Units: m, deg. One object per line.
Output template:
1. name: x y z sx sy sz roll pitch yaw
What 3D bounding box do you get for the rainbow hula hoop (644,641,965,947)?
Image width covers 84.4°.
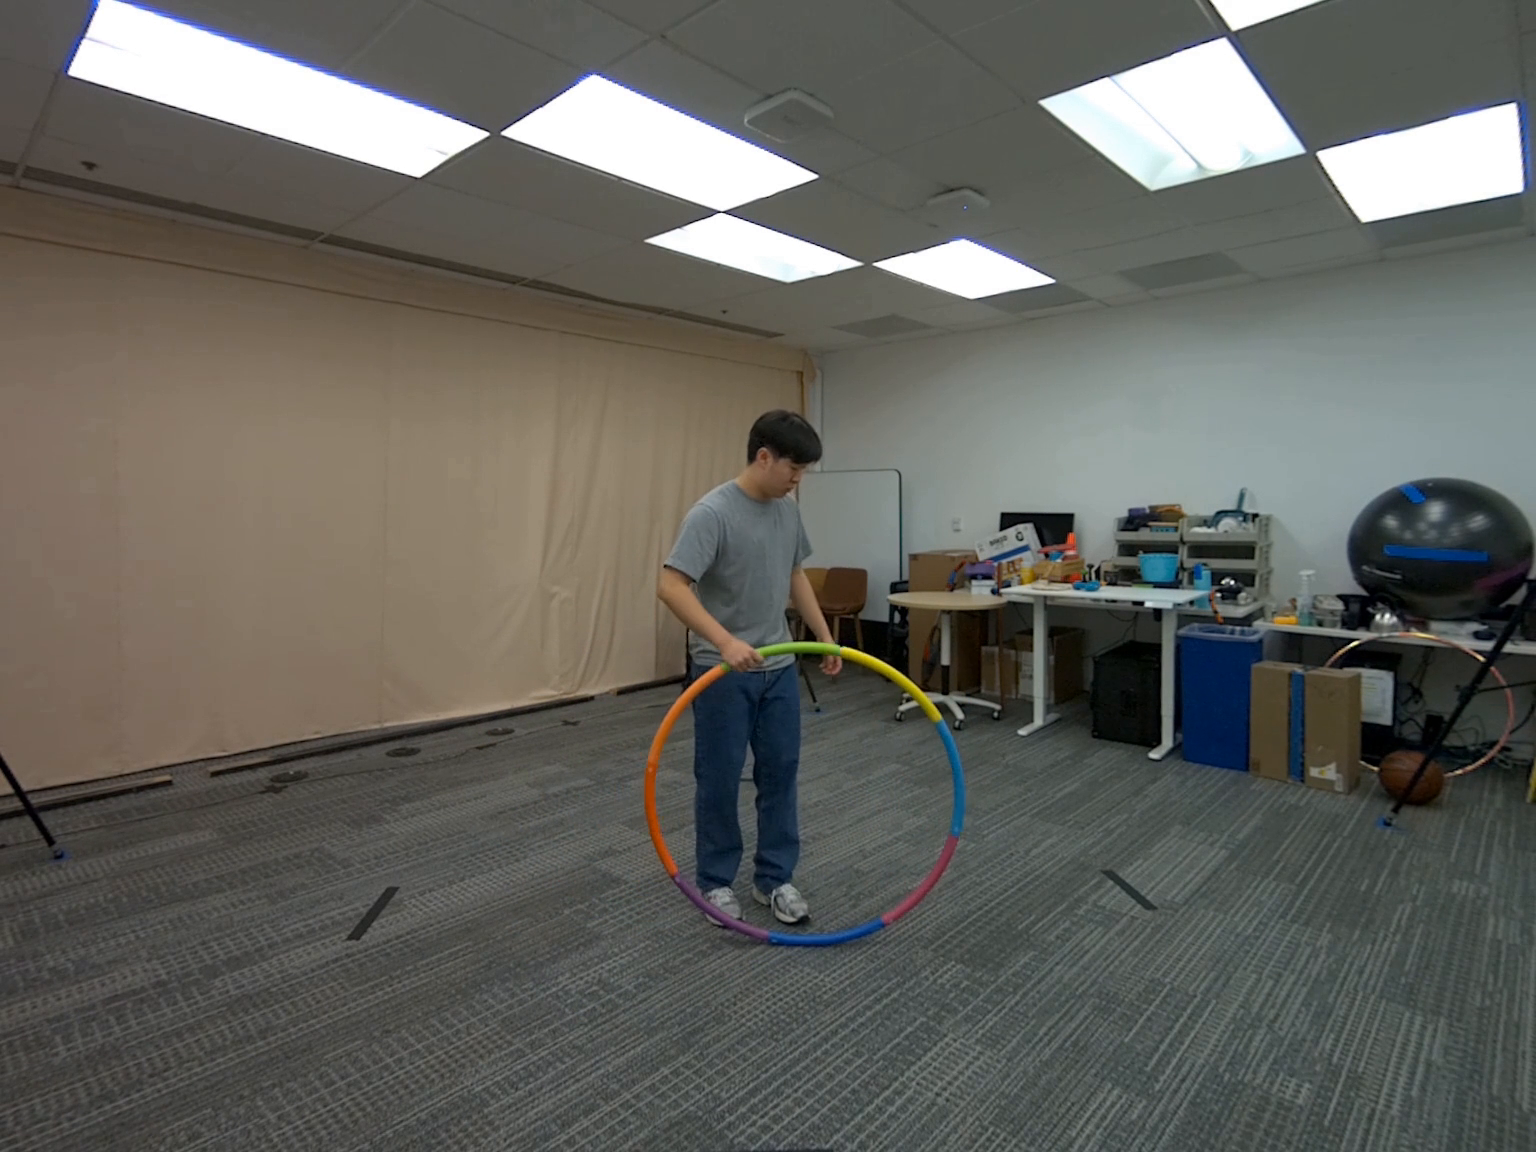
1. rainbow hula hoop: 0.106 0.692 2.617 0.981 0.975 0.035 0 6 2
